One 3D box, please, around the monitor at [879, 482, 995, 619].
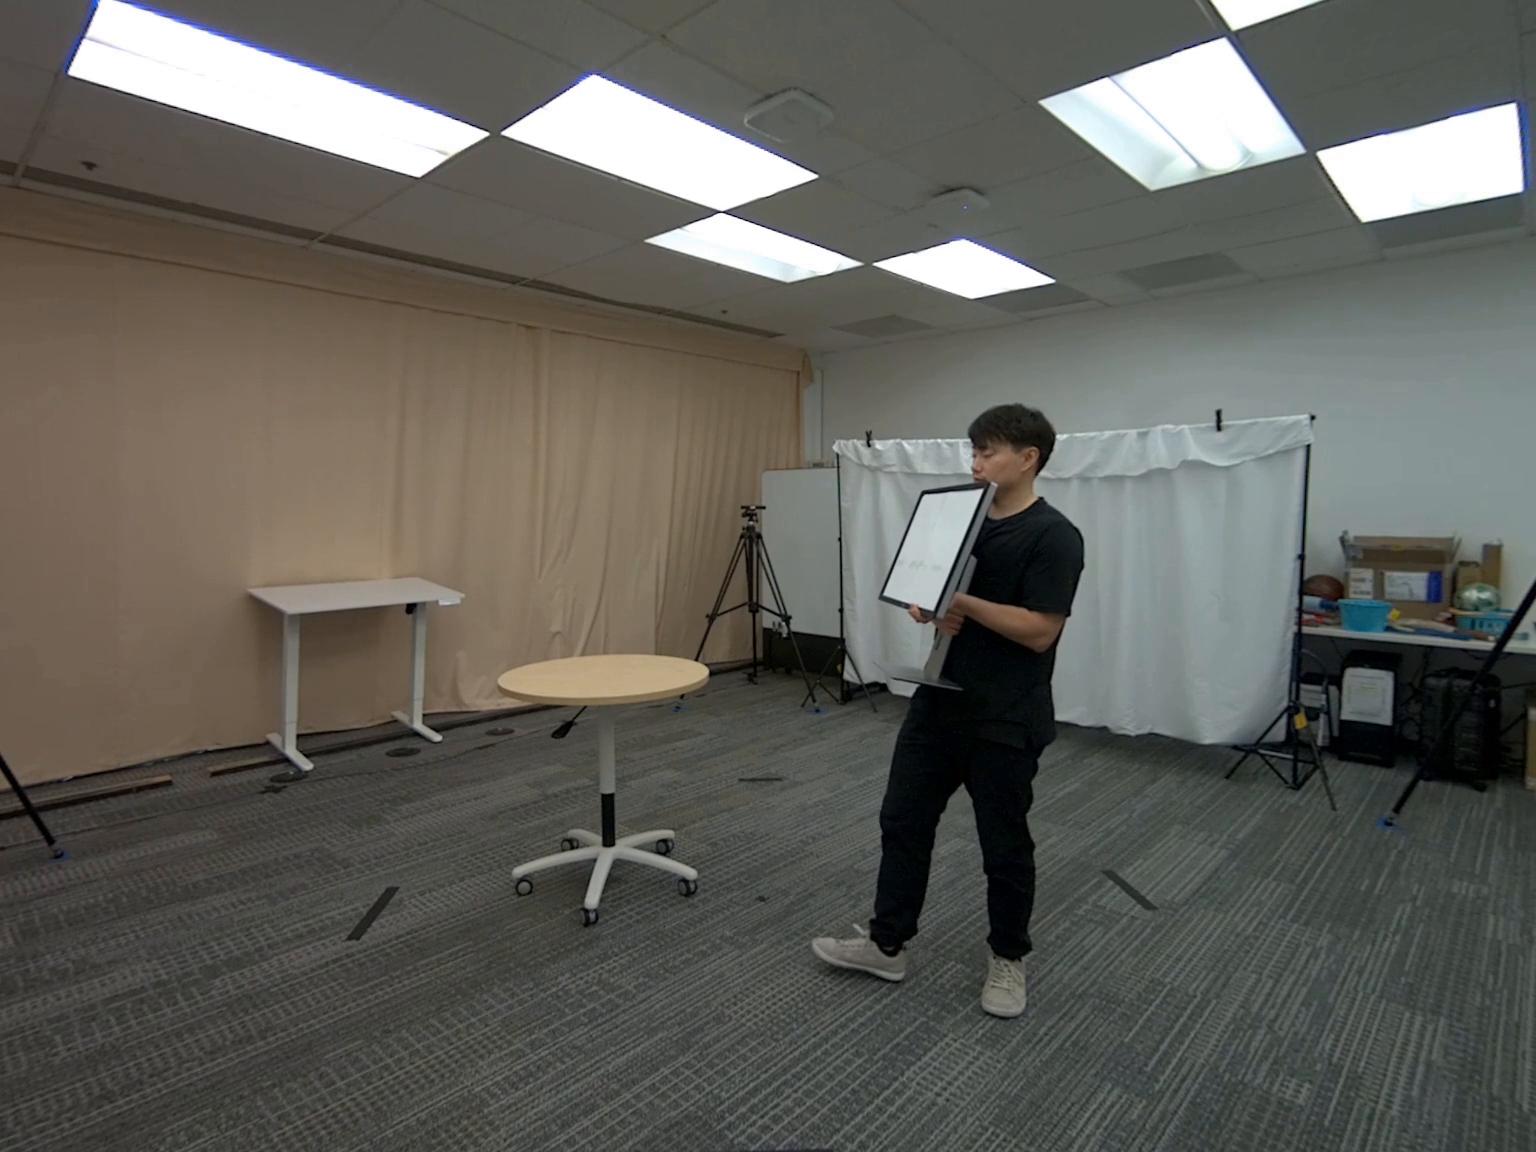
[{"bbox_3d":[0.466,0.026,2.321,0.185,0.522,0.545,10,2,-10],"label":"monitor"}]
